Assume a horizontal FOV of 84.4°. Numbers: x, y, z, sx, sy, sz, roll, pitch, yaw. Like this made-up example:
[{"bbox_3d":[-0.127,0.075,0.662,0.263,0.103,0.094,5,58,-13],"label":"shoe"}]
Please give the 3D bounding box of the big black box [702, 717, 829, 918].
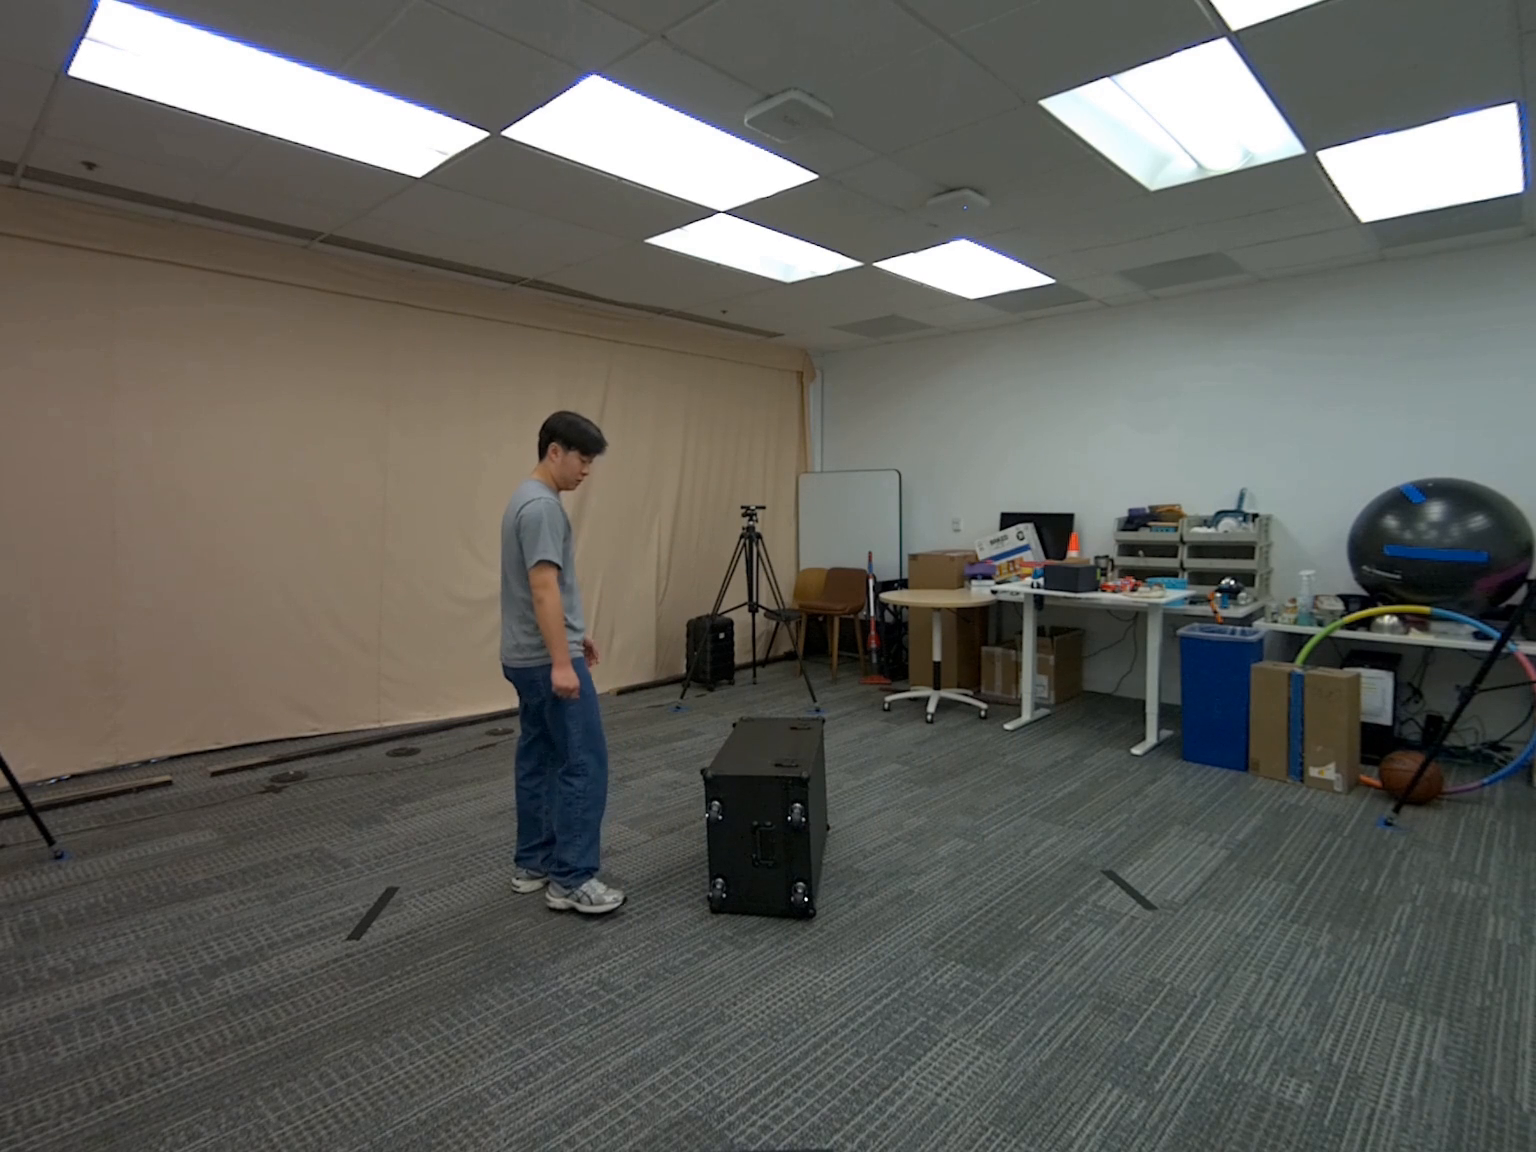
[{"bbox_3d":[0.017,0.871,3.240,0.400,0.520,0.854,-1,4,9],"label":"big black box"}]
